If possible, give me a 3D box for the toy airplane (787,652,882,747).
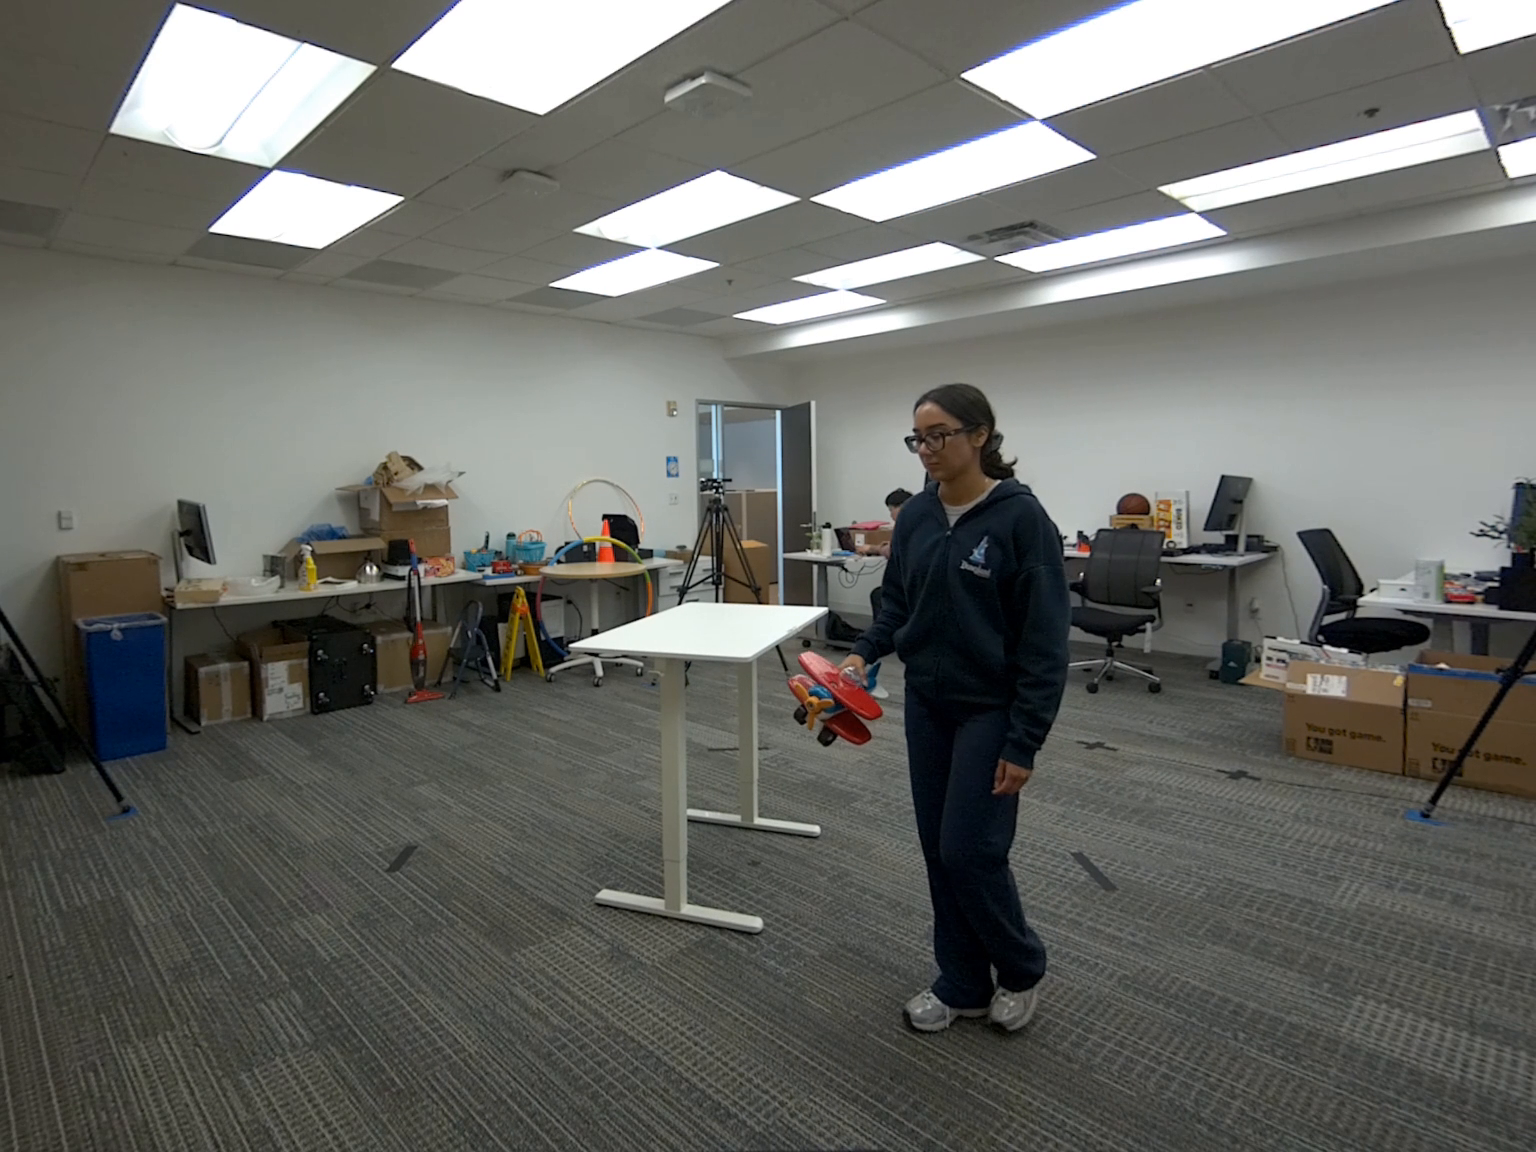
[{"bbox_3d":[0.178,0.289,2.151,0.255,0.153,0.260,17,37,13],"label":"toy airplane"}]
